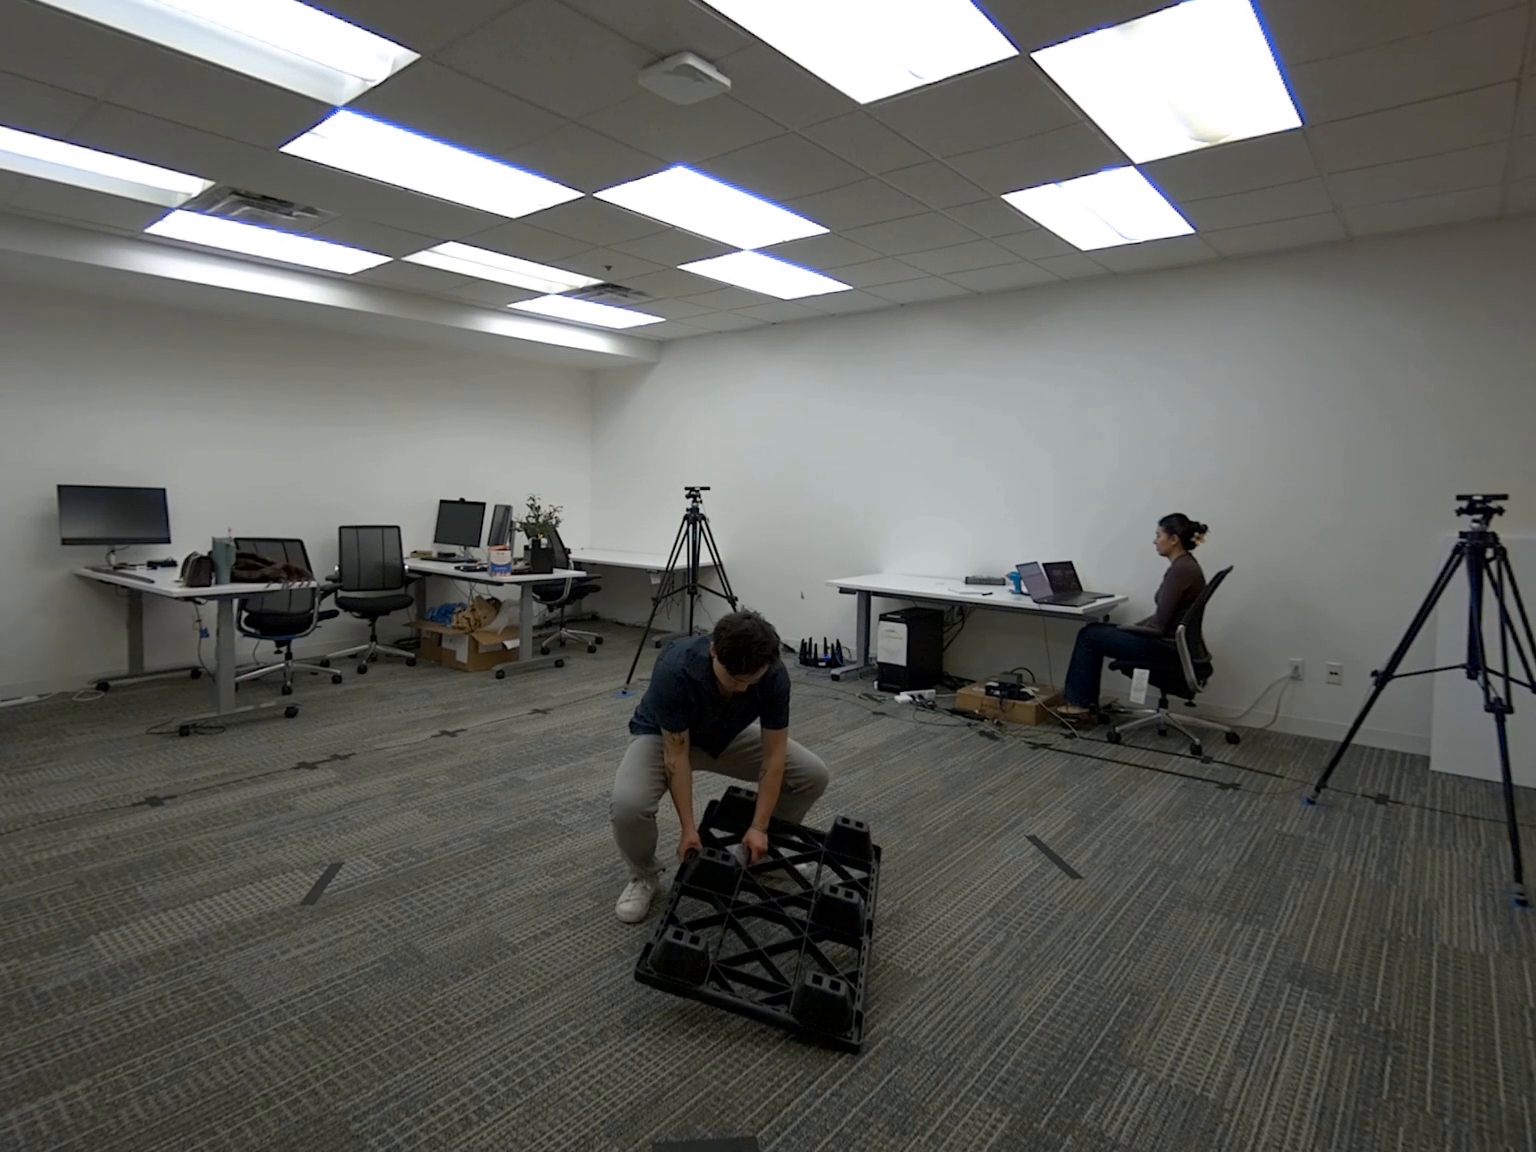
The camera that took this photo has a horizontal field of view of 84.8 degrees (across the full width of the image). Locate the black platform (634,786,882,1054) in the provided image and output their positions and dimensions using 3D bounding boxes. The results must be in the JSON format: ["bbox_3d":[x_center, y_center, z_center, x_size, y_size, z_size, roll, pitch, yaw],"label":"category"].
[{"bbox_3d":[0.026,0.936,2.500,0.612,0.141,0.809,11,21,7],"label":"black platform"}]
